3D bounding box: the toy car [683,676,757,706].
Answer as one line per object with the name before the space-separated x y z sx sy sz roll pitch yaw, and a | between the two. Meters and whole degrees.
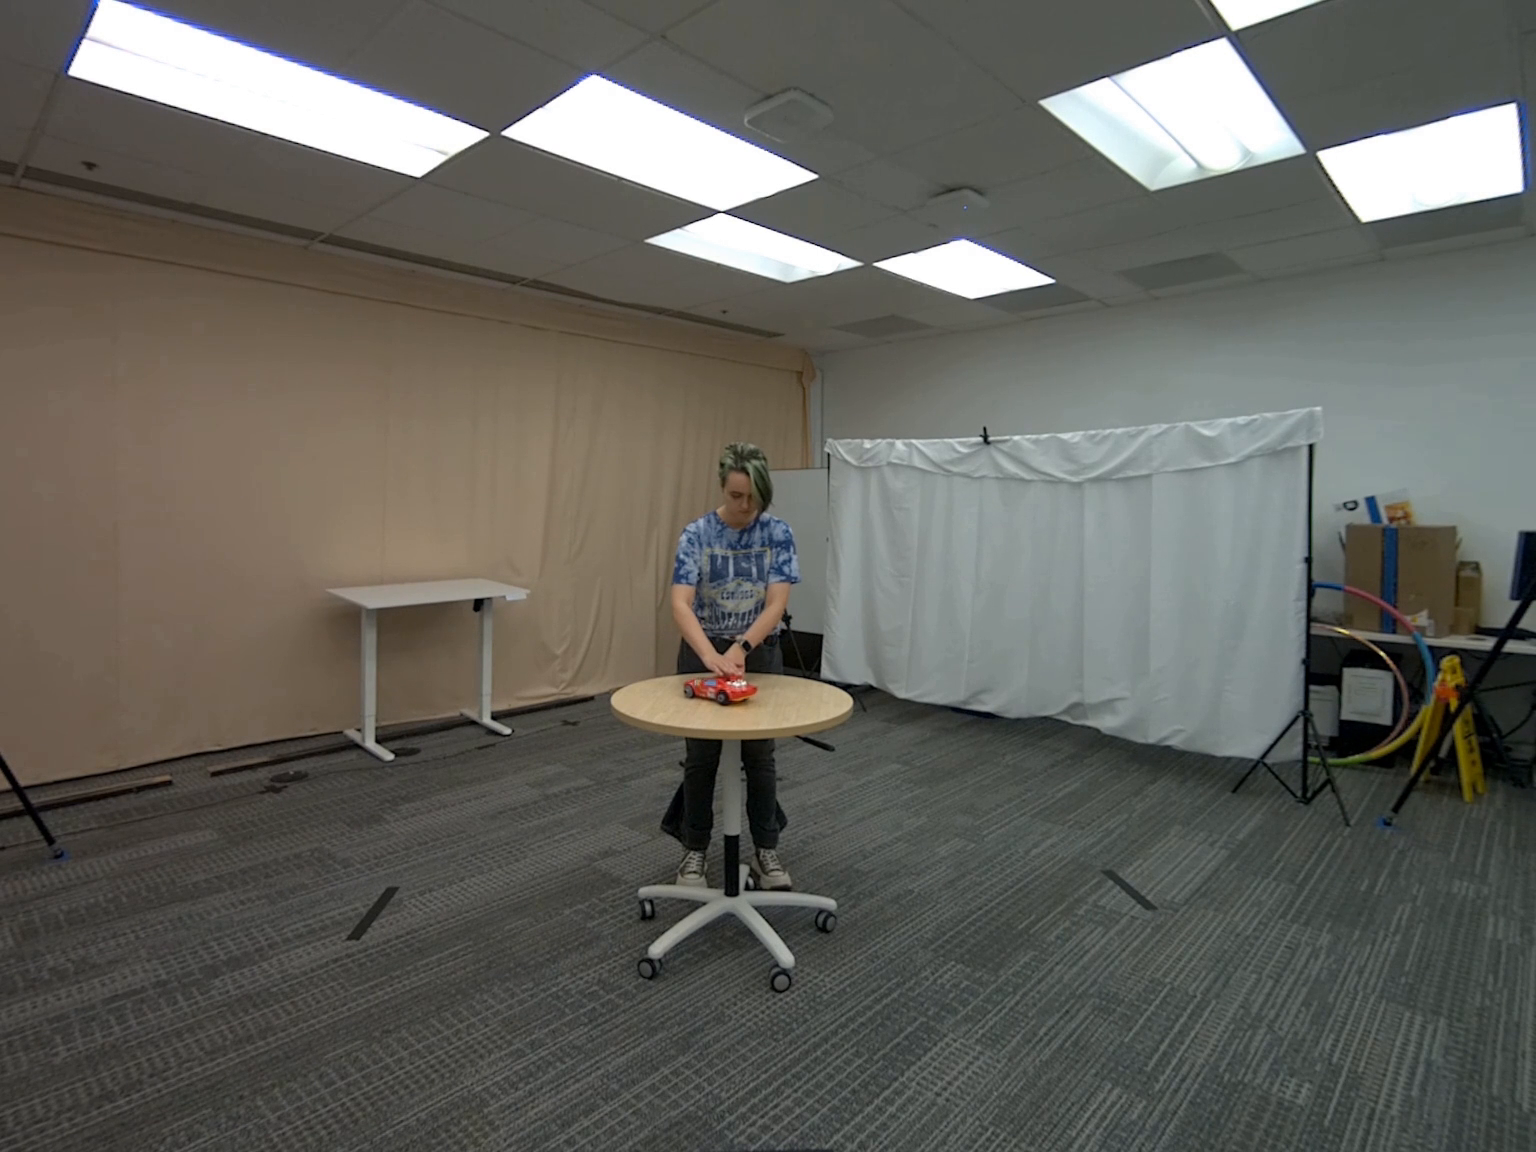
toy car | -0.147 0.358 2.642 0.262 0.083 0.126 -10 -3 40
